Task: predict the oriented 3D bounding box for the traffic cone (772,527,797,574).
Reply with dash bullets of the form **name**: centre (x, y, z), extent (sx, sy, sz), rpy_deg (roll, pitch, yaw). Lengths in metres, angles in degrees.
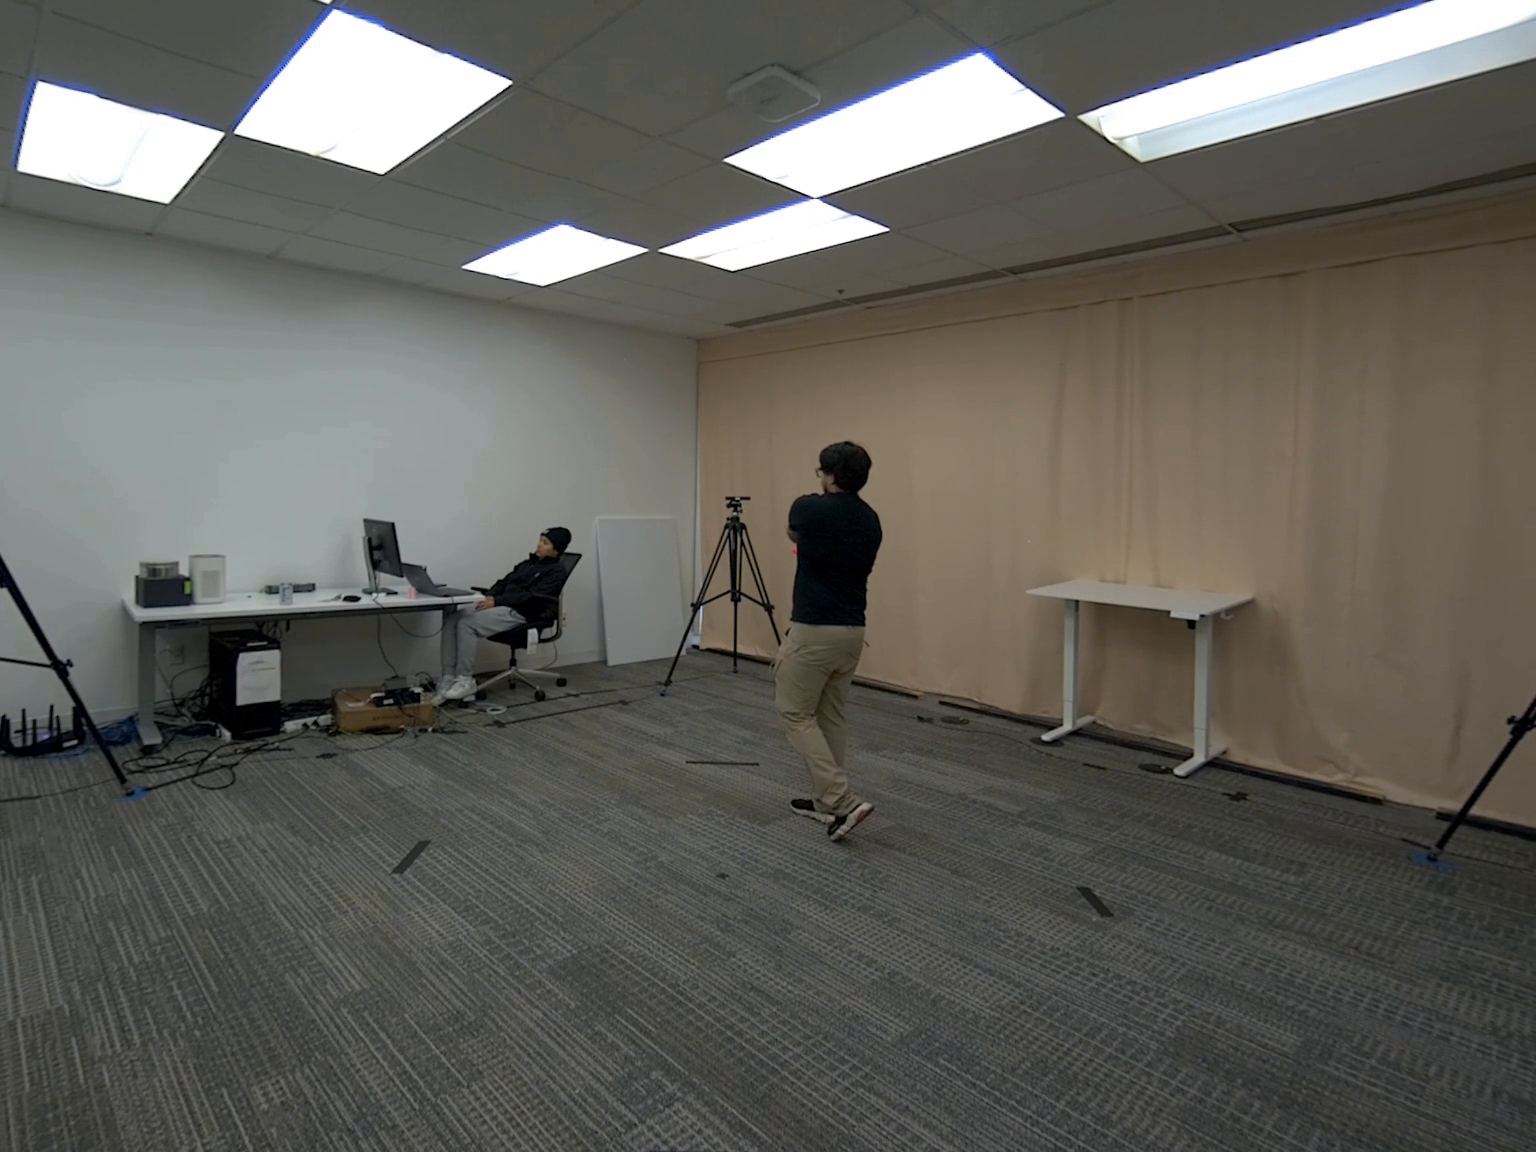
- **traffic cone**: centre (0.221, -0.144, 4.174), extent (0.210, 0.202, 0.376), rpy_deg (5, 11, 39)
